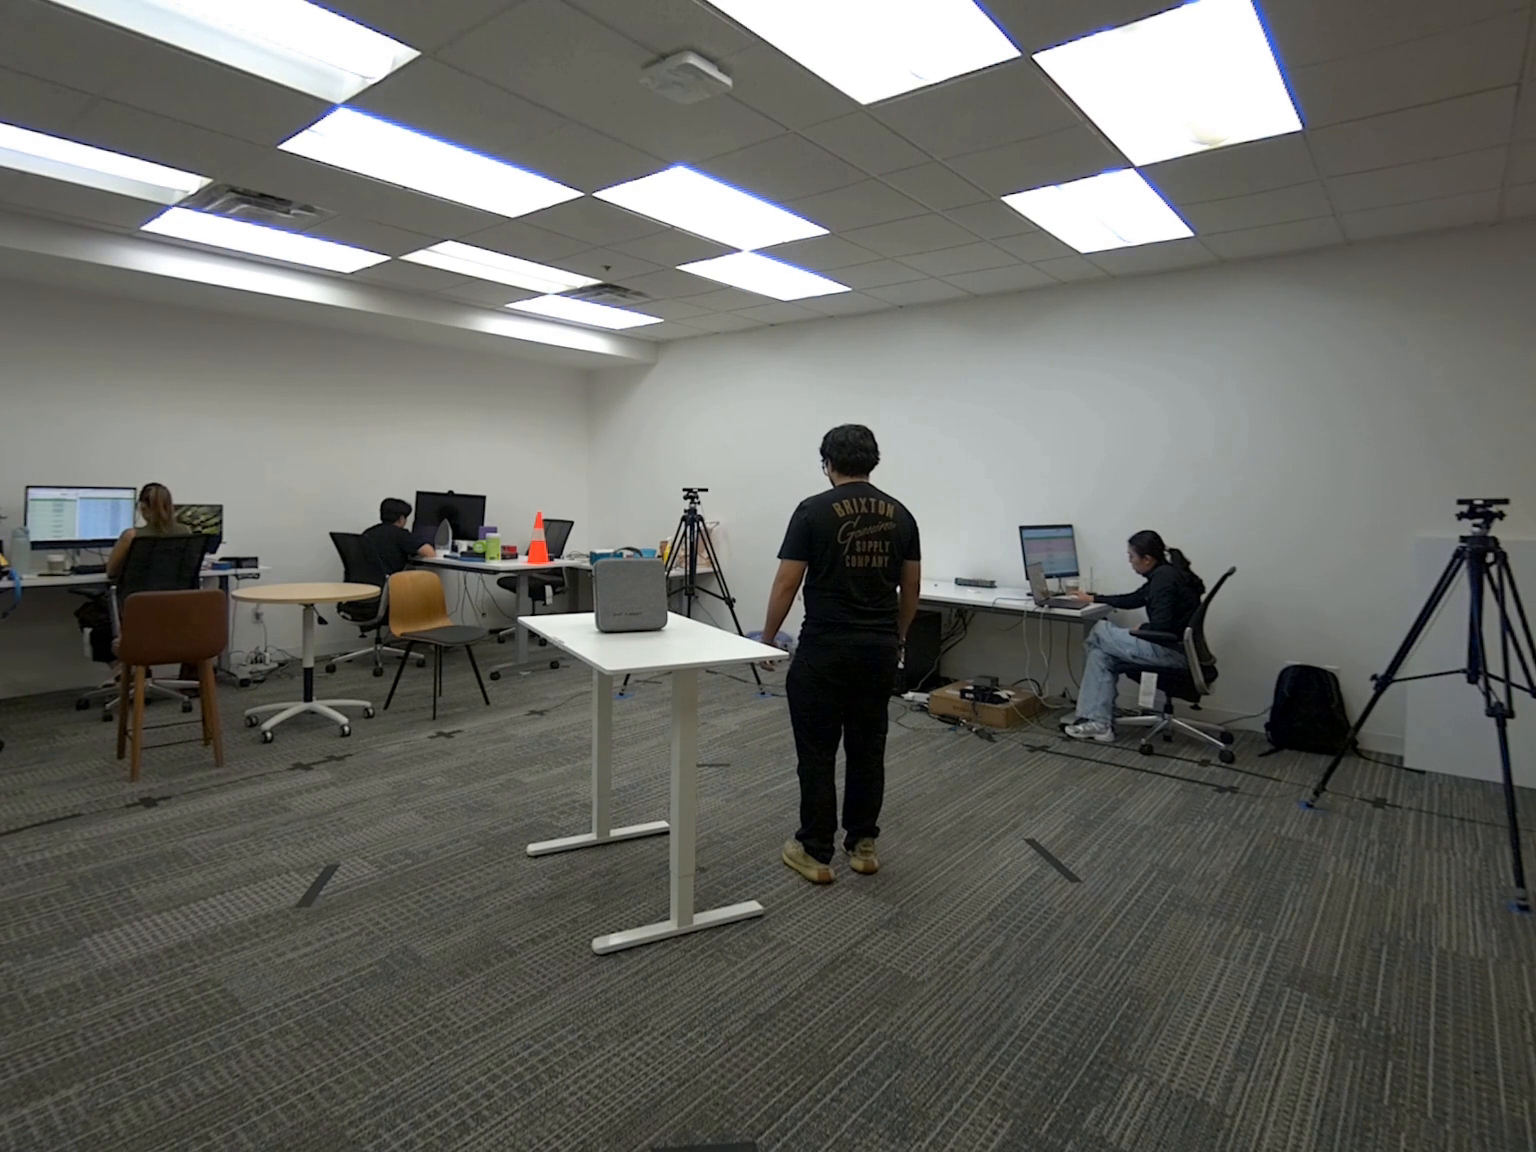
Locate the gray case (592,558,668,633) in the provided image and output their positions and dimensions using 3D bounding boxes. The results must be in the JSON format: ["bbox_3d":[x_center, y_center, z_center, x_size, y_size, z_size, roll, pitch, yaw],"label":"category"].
[{"bbox_3d":[-0.504,0.056,3.022,0.252,0.262,0.106,-2,-4,-20],"label":"gray case"}]
